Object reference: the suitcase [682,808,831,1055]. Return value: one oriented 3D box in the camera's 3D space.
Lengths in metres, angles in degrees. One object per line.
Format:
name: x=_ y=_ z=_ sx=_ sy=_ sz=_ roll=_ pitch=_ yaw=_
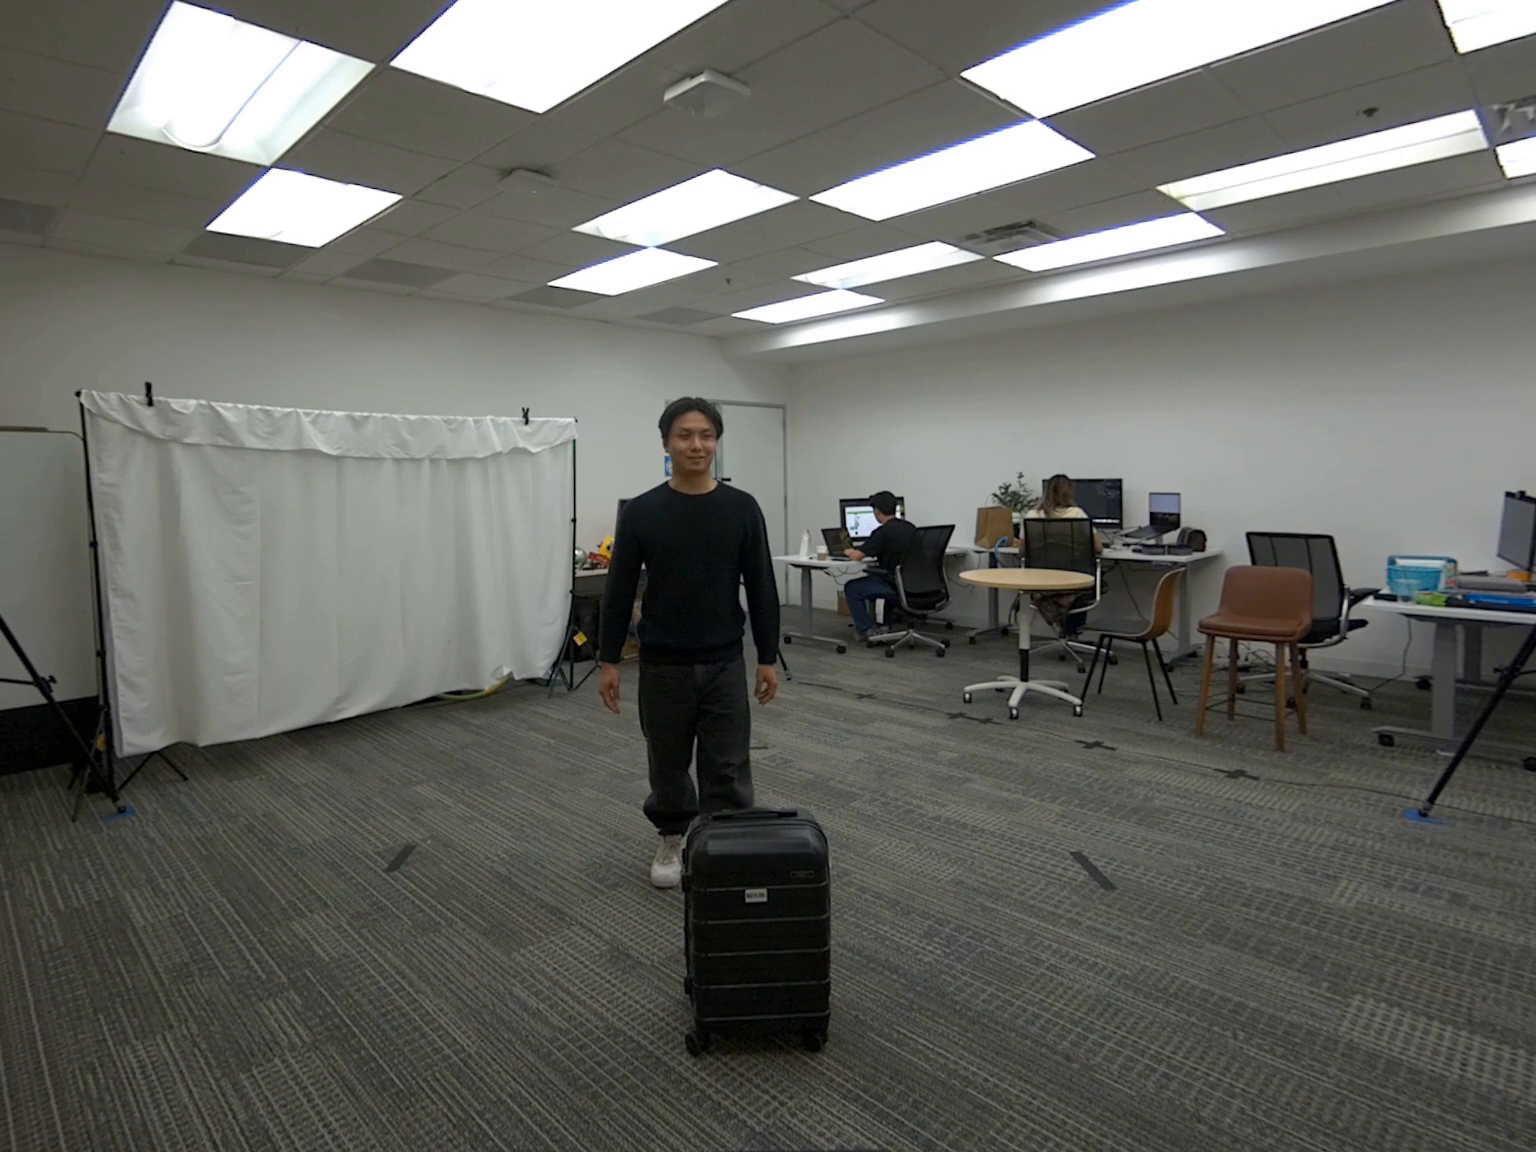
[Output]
suitcase: x=-0.020 y=0.877 z=2.169 sx=0.374 sy=0.547 sz=0.250 roll=-1 pitch=5 yaw=-3
